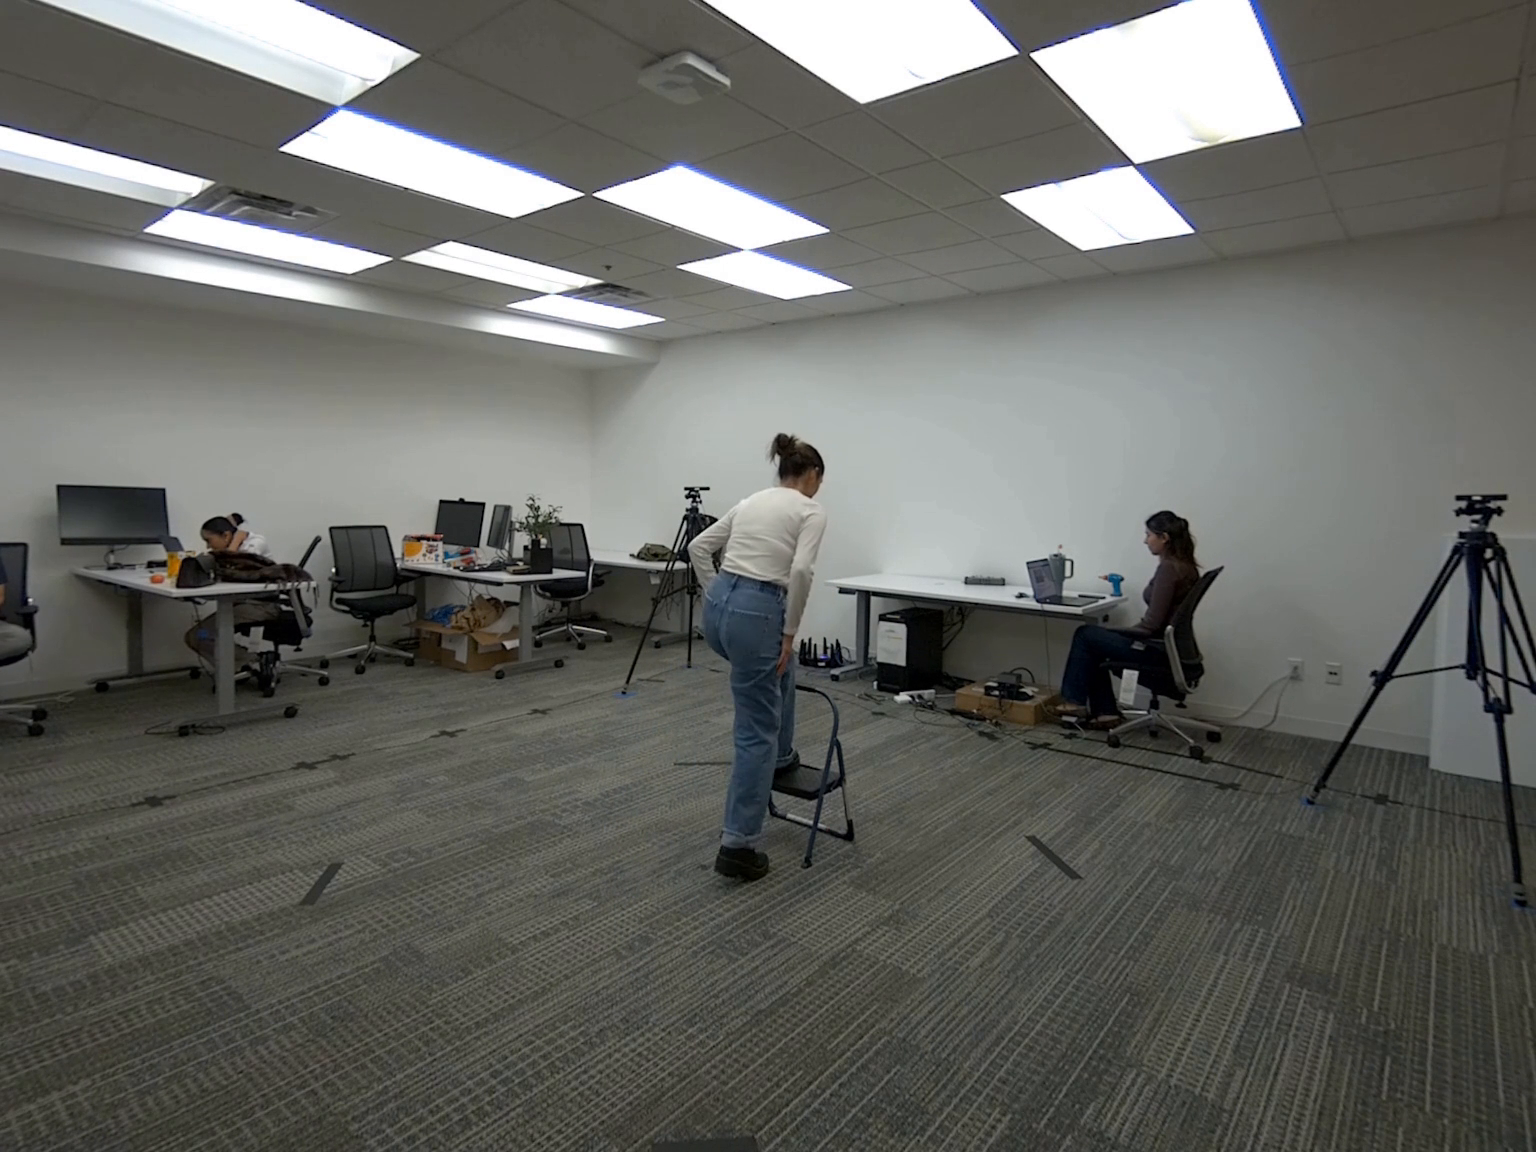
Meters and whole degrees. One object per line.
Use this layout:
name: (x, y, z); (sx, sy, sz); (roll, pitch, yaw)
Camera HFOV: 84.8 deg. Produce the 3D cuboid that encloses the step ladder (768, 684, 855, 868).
step ladder: (0.081, 0.741, 3.375); (0.445, 0.604, 0.339); (4, 5, 38)
